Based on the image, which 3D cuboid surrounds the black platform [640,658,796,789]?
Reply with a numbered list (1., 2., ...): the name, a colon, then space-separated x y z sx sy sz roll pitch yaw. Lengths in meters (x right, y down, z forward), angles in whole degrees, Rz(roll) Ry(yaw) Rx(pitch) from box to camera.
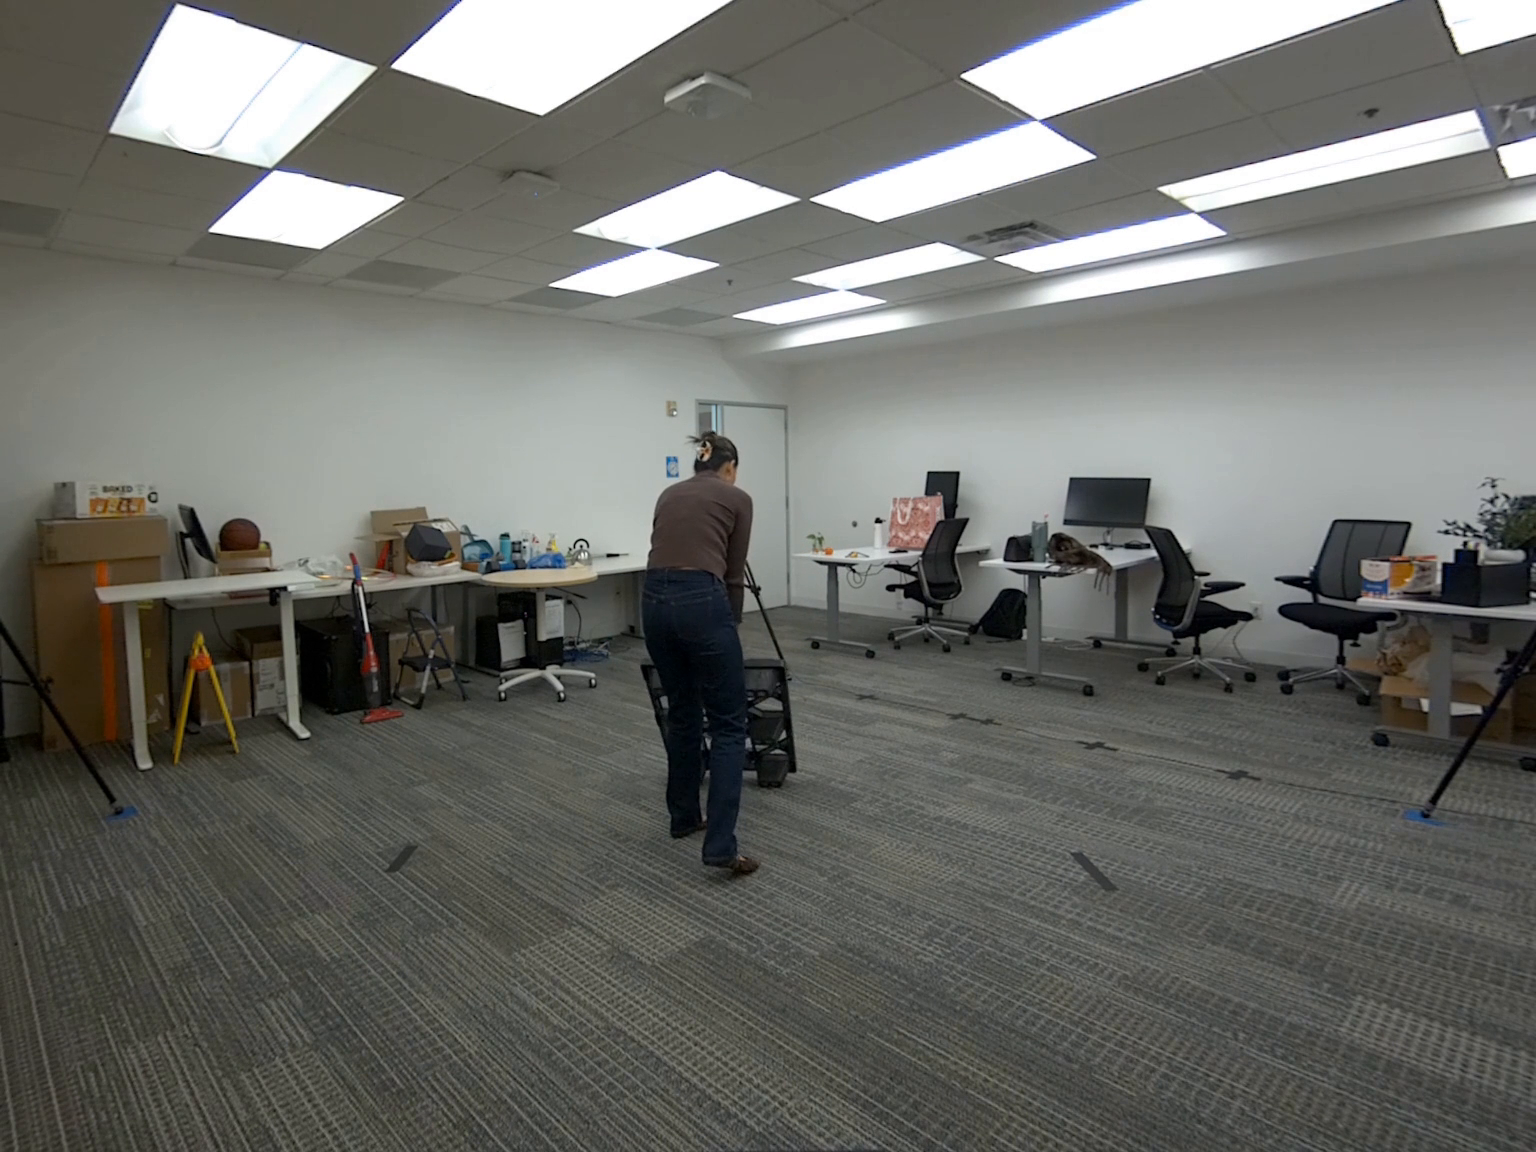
1. black platform: -0.198 0.656 3.701 0.610 0.781 0.146 0 44 8
